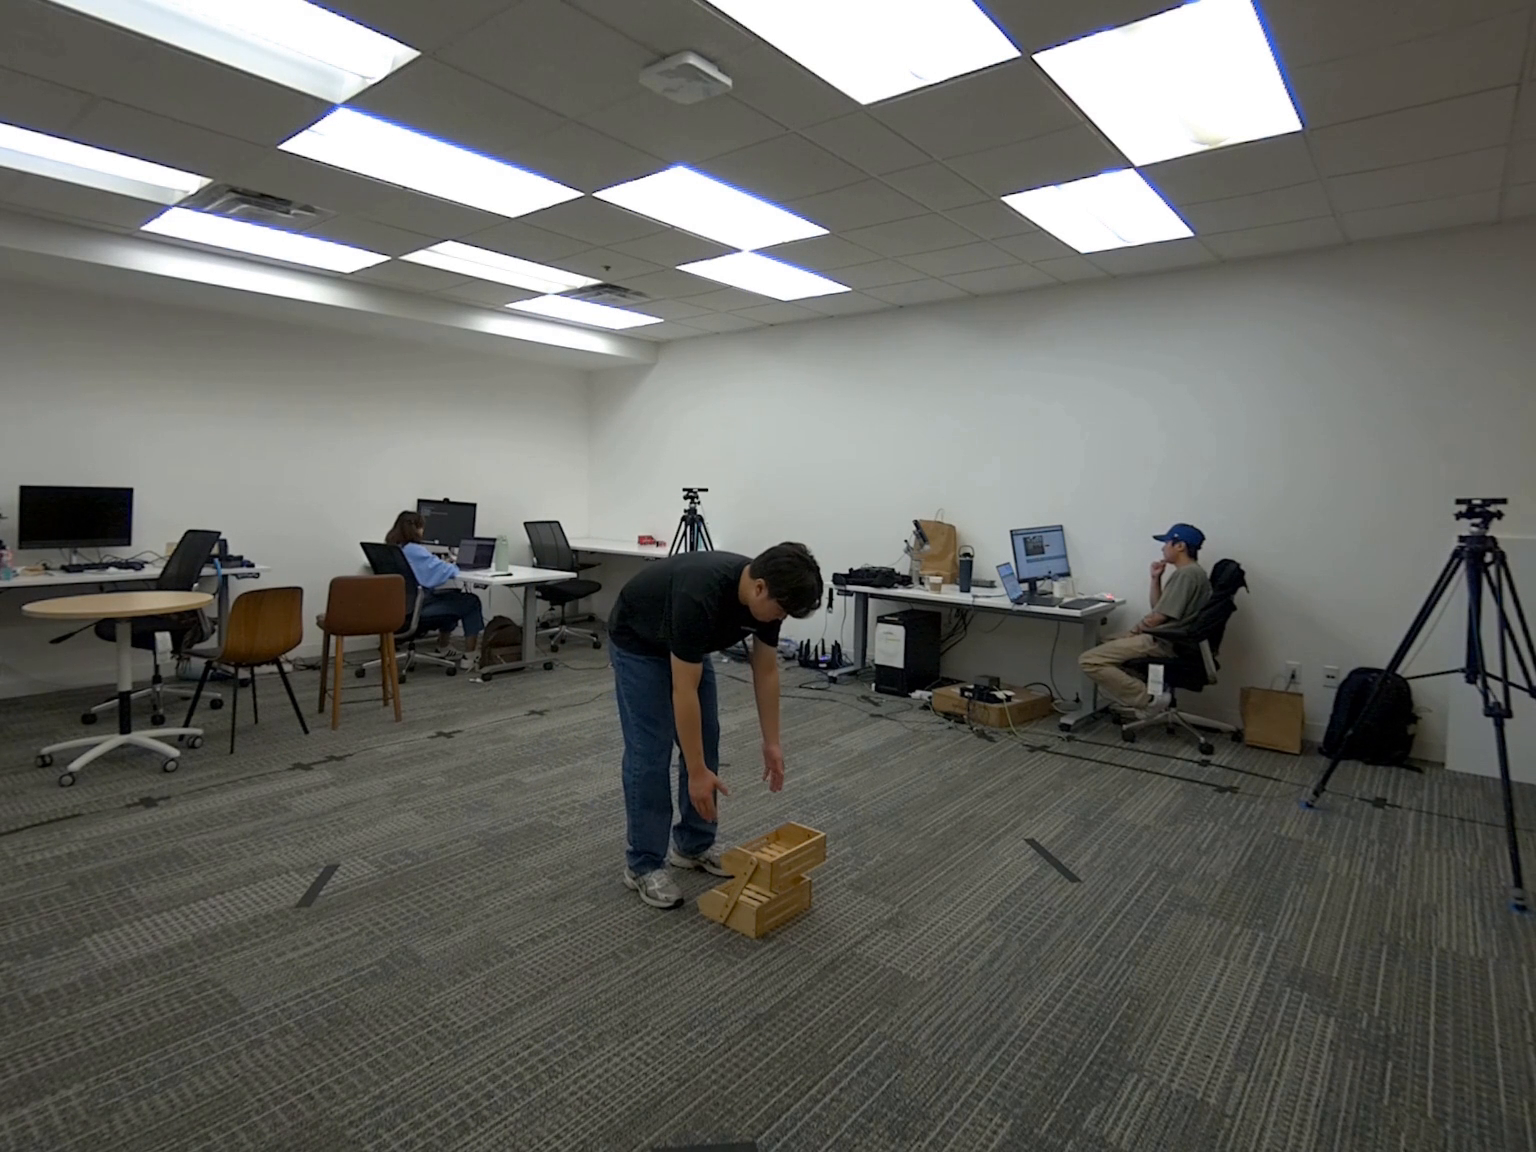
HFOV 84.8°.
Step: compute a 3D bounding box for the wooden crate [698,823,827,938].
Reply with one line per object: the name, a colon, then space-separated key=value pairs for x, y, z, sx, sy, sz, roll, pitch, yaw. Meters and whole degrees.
wooden crate: x=-0.027 y=0.969 z=2.803 sx=0.312 sy=0.272 sz=0.315 roll=5 pitch=5 yaw=39
